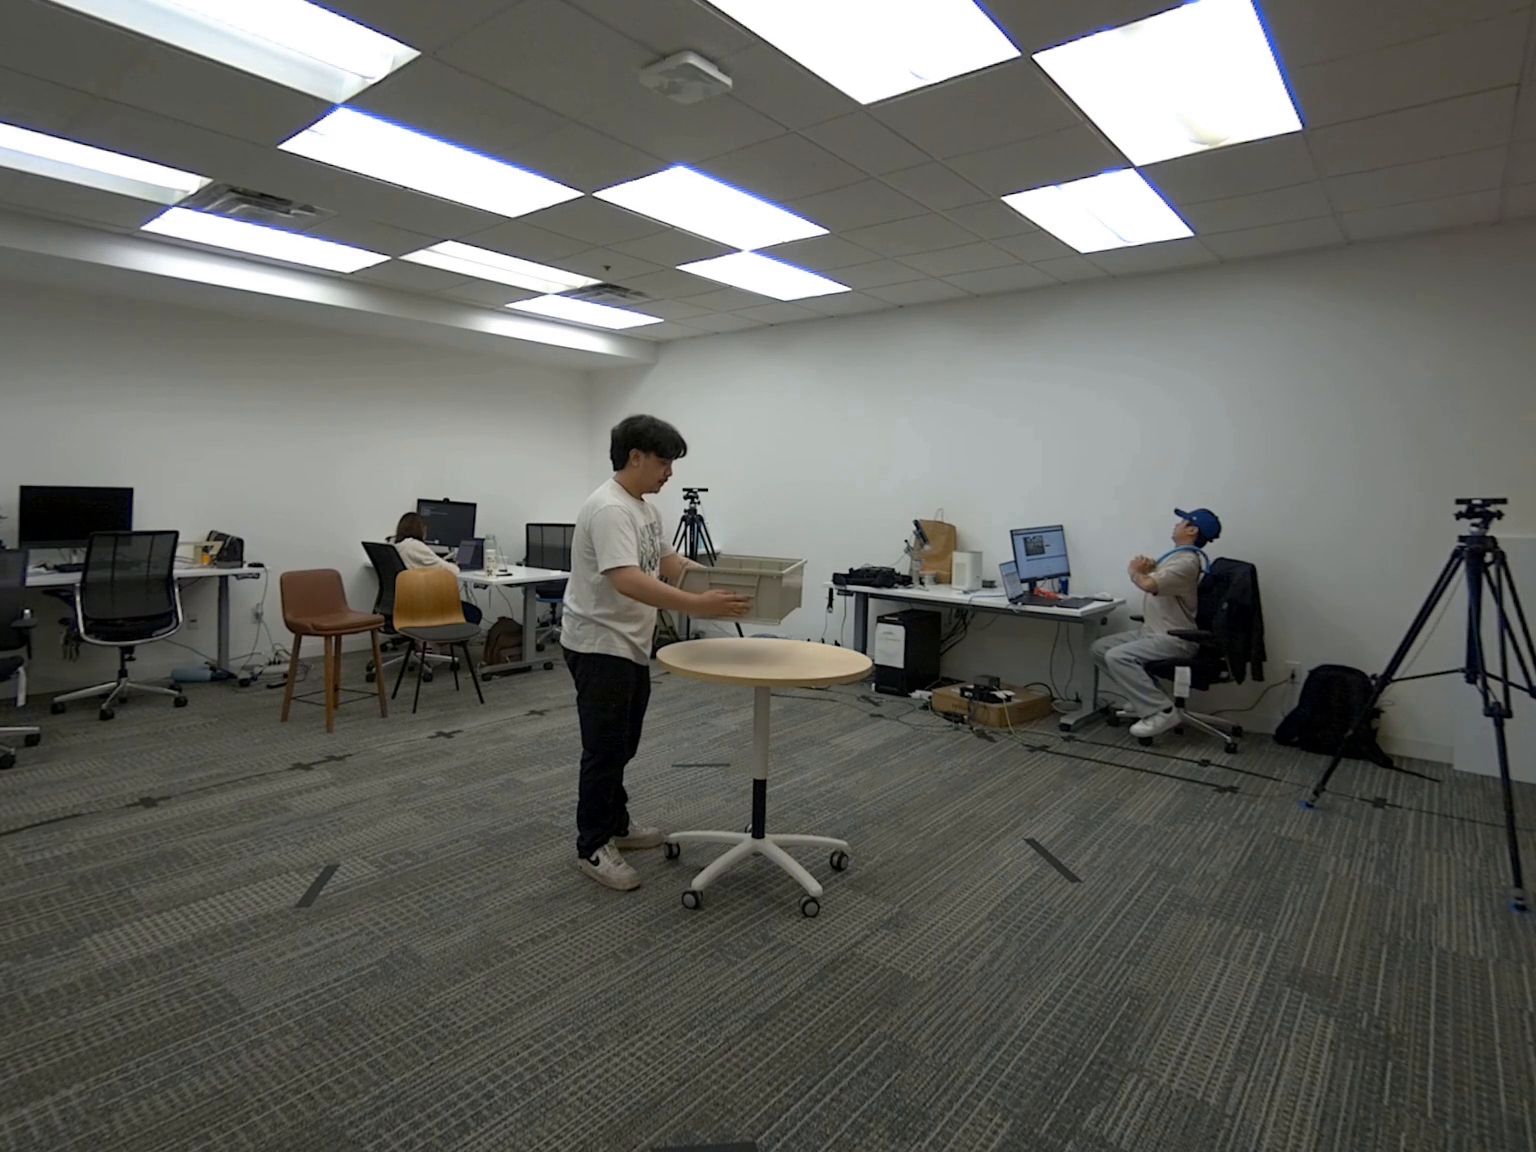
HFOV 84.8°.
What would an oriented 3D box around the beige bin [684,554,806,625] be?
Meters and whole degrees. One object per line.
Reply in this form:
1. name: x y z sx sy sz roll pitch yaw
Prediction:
1. beige bin: -0.090 0.043 3.028 0.383 0.188 0.418 4 8 12
